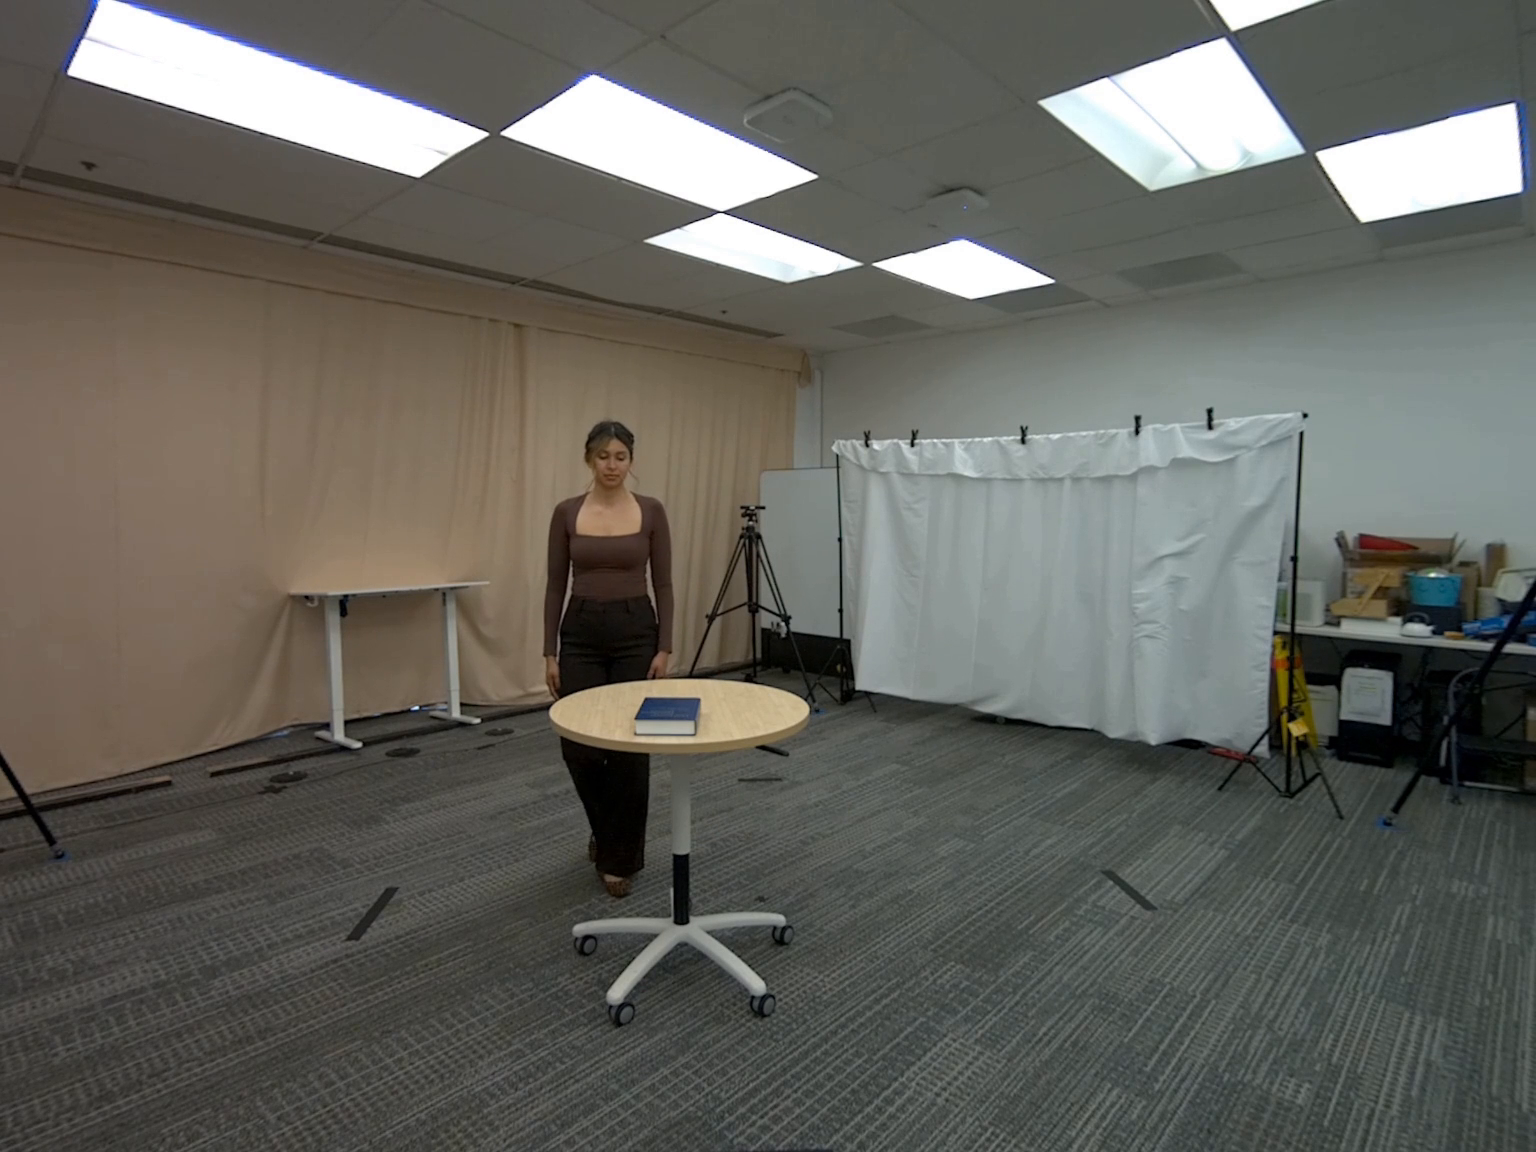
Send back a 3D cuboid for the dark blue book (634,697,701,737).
[{"bbox_3d":[-0.267,0.385,2.301,0.163,0.045,0.245,-1,4,-1],"label":"dark blue book"}]
